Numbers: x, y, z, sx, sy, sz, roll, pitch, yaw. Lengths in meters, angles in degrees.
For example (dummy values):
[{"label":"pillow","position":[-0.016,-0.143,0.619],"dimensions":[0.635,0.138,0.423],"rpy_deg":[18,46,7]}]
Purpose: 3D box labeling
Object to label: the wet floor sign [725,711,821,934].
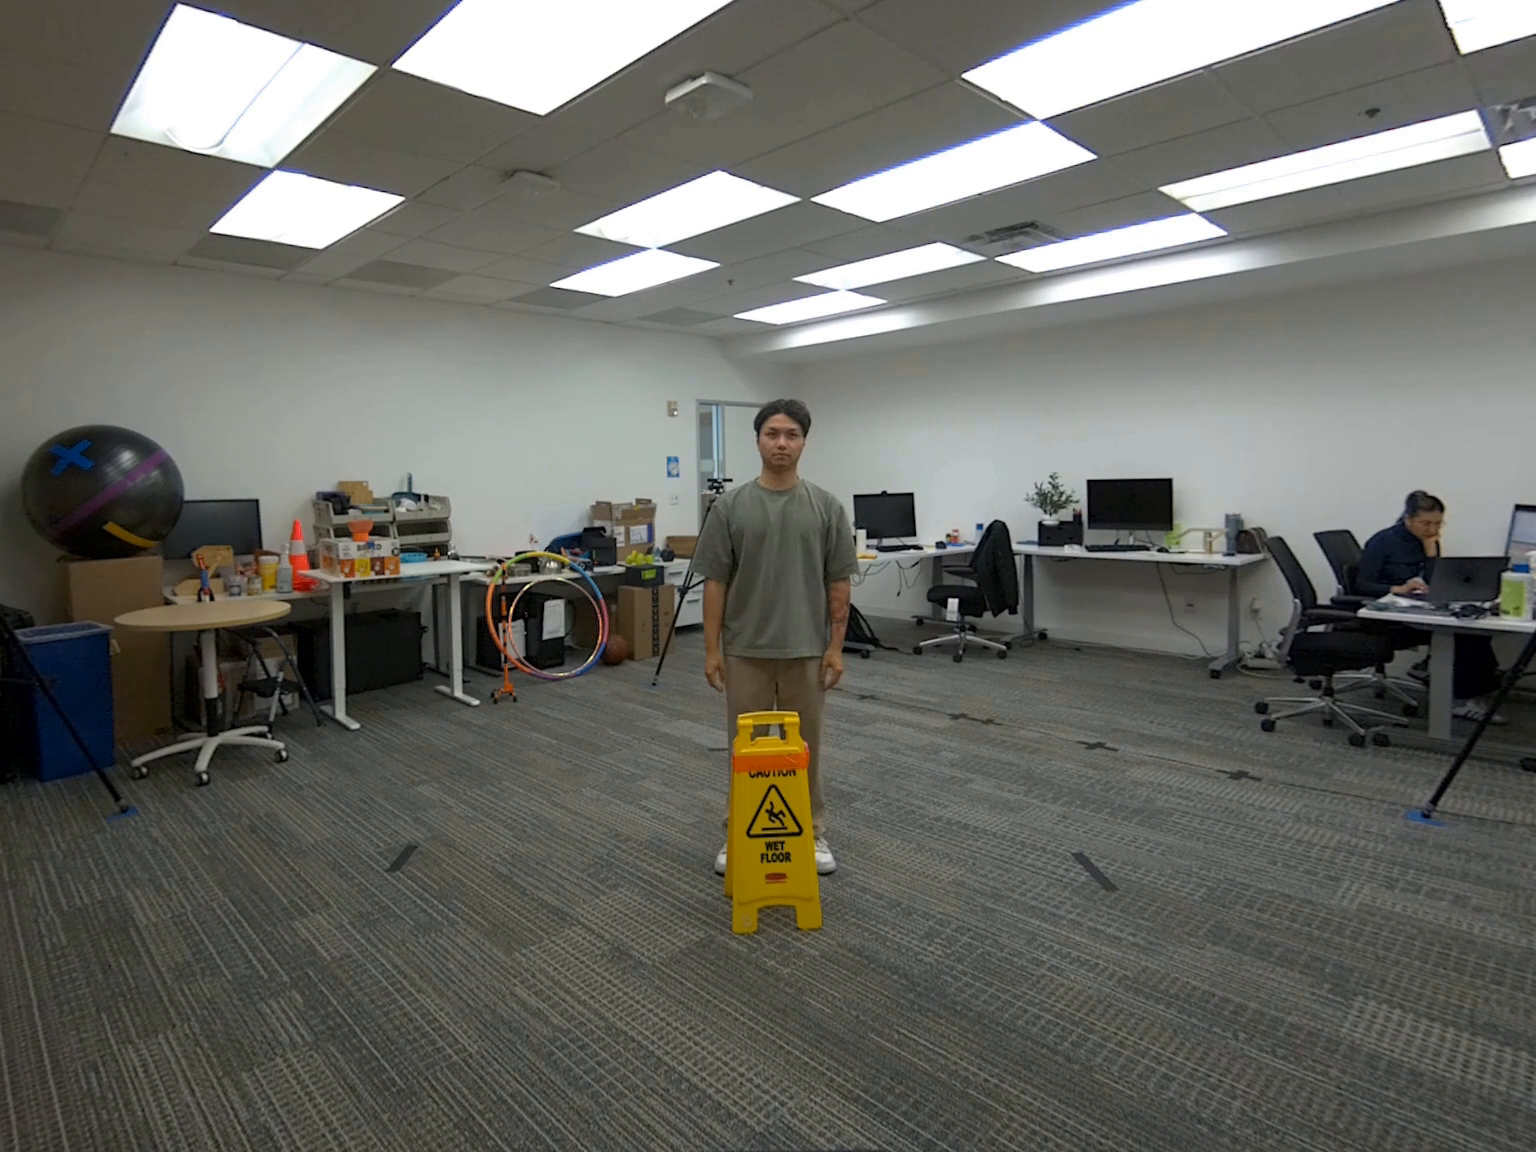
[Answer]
[{"label":"wet floor sign","position":[-0.003,0.765,2.745],"dimensions":[0.281,0.643,0.292],"rpy_deg":[-3,5,-6]}]
